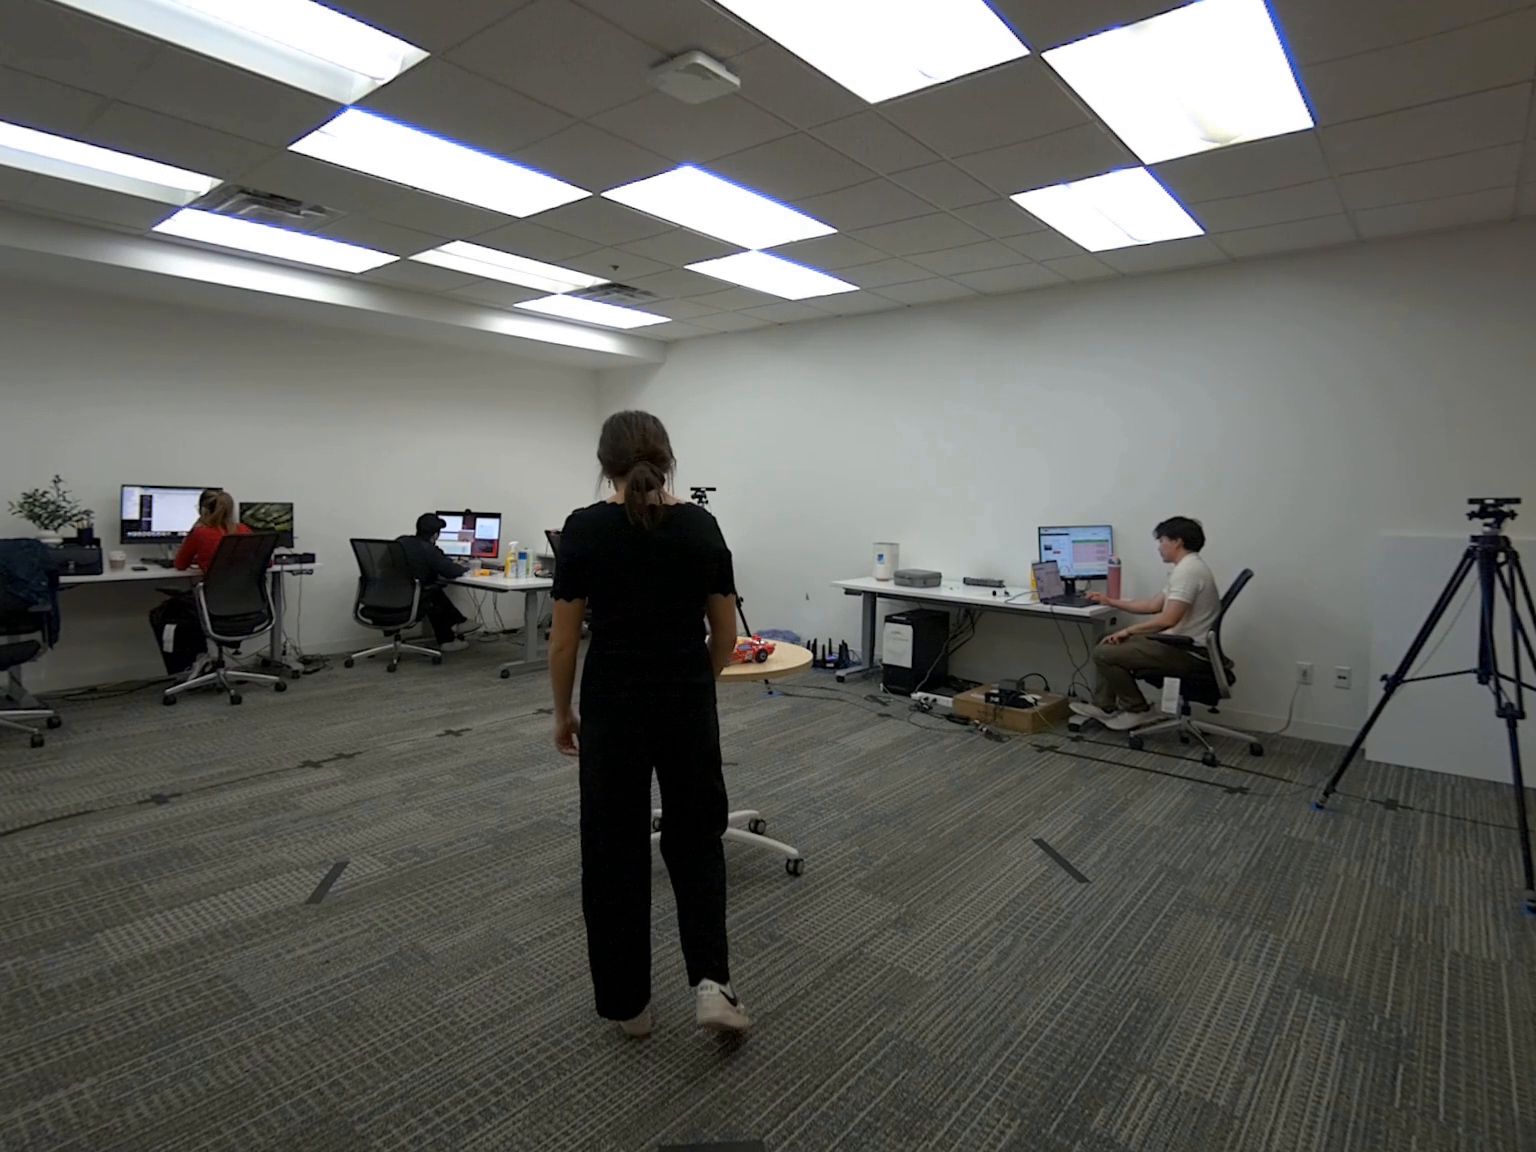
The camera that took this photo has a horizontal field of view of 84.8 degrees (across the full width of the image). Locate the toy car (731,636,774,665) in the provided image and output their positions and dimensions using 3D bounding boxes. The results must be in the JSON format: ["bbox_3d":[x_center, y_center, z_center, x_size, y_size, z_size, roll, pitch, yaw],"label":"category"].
[{"bbox_3d":[-0.098,0.262,2.968,0.250,0.082,0.134,-16,13,-29],"label":"toy car"}]
